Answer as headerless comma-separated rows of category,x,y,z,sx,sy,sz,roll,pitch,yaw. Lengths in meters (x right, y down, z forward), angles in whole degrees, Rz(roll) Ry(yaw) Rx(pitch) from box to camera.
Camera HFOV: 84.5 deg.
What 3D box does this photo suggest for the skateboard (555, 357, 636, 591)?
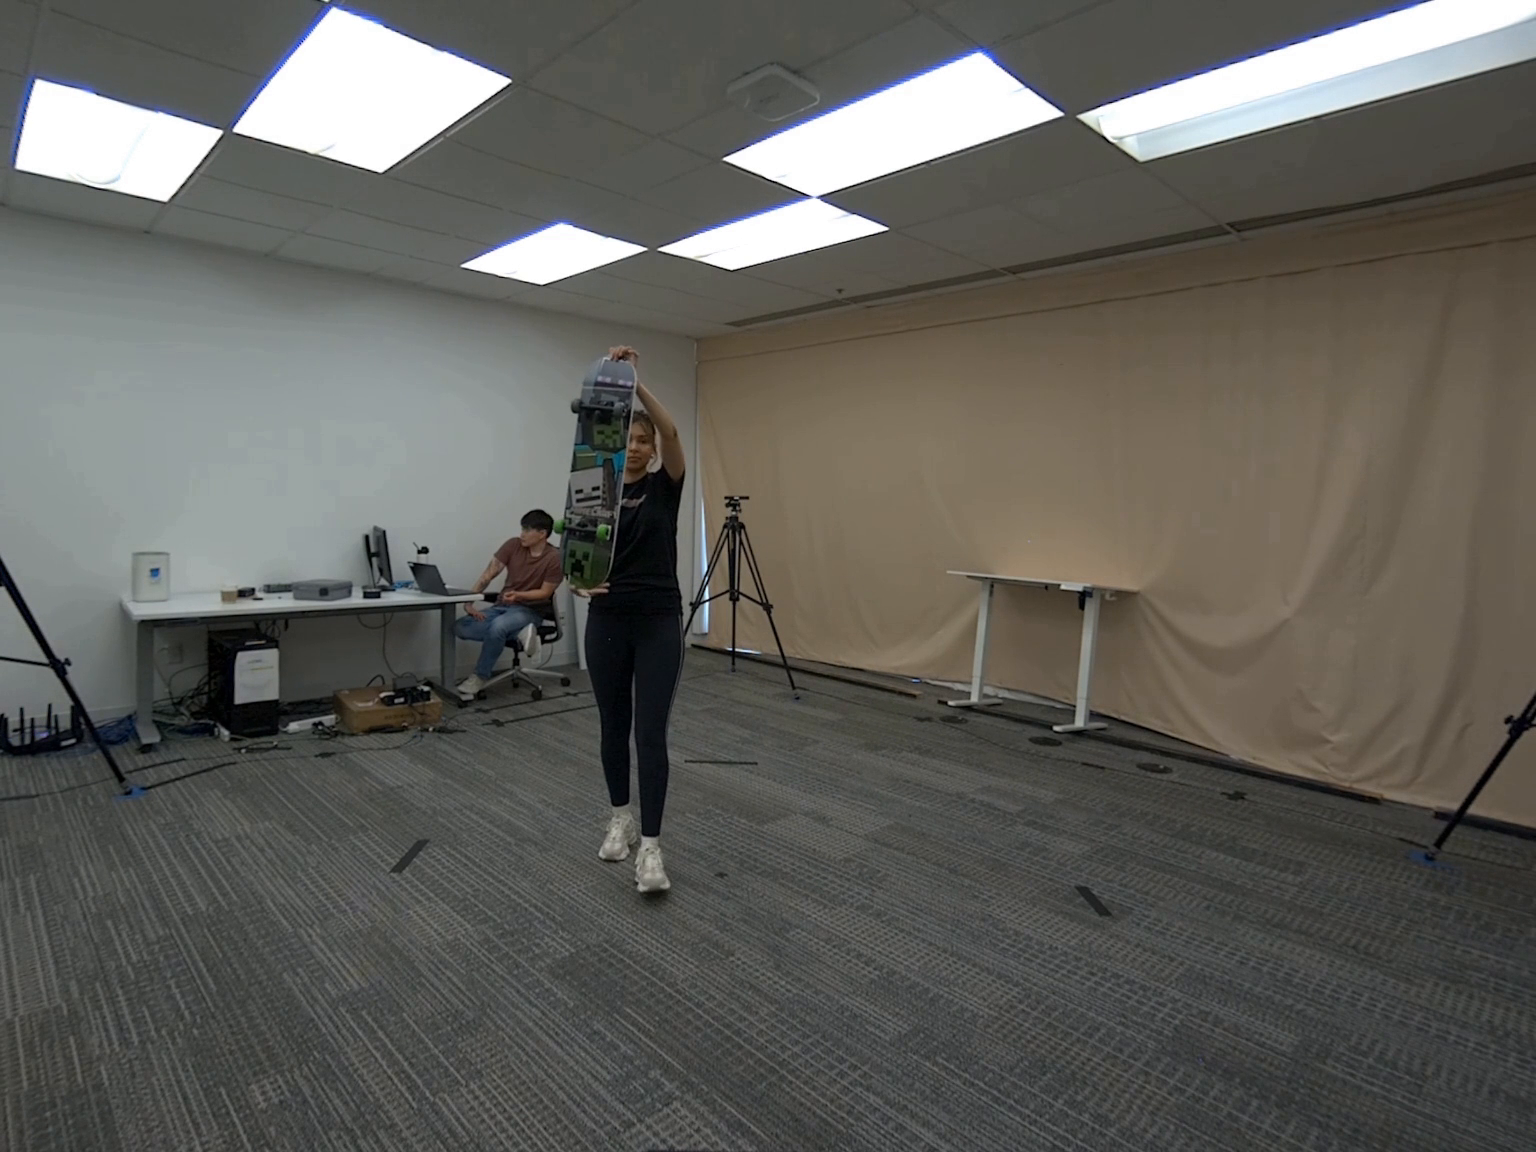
skateboard,-0.573,-0.349,2.743,0.196,0.786,0.109,6,-1,16
